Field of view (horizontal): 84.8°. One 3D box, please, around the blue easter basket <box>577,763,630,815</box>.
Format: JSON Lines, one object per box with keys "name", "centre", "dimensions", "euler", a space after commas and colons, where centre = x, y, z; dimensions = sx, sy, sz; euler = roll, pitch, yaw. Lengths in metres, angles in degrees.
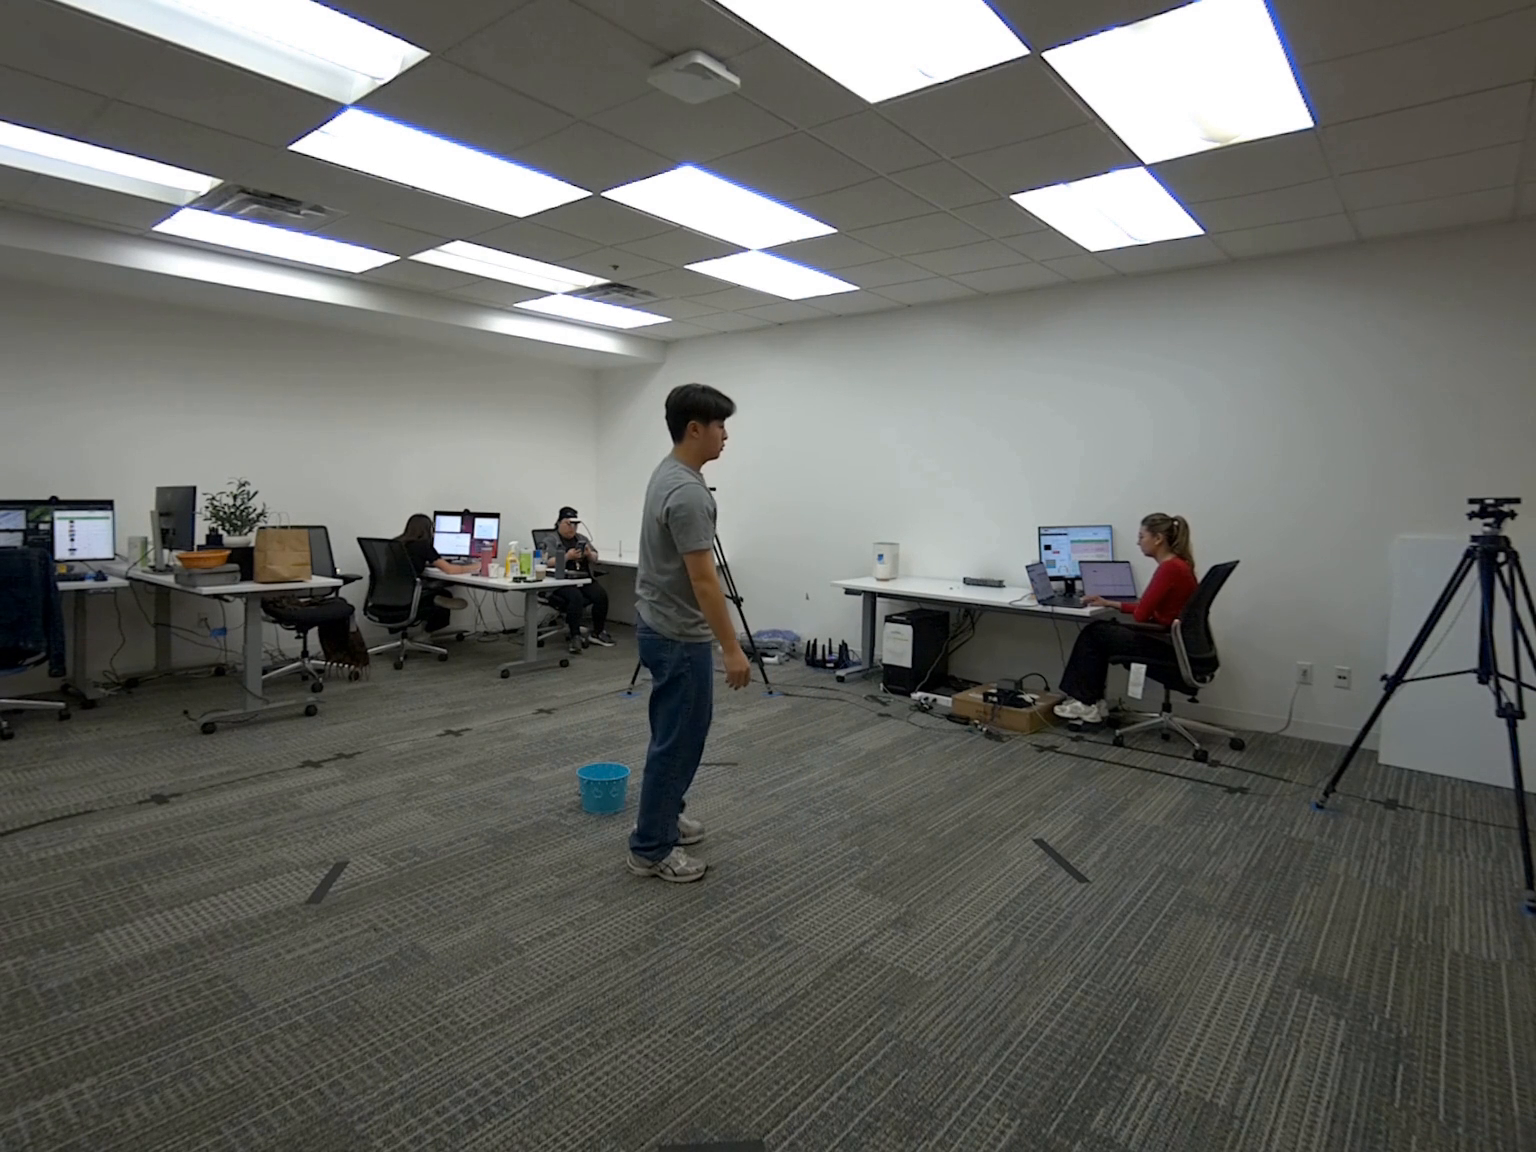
{"name": "blue easter basket", "centre": [-0.733, 0.919, 3.710], "dimensions": [0.243, 0.155, 0.245], "euler": [0, 5, -2]}
